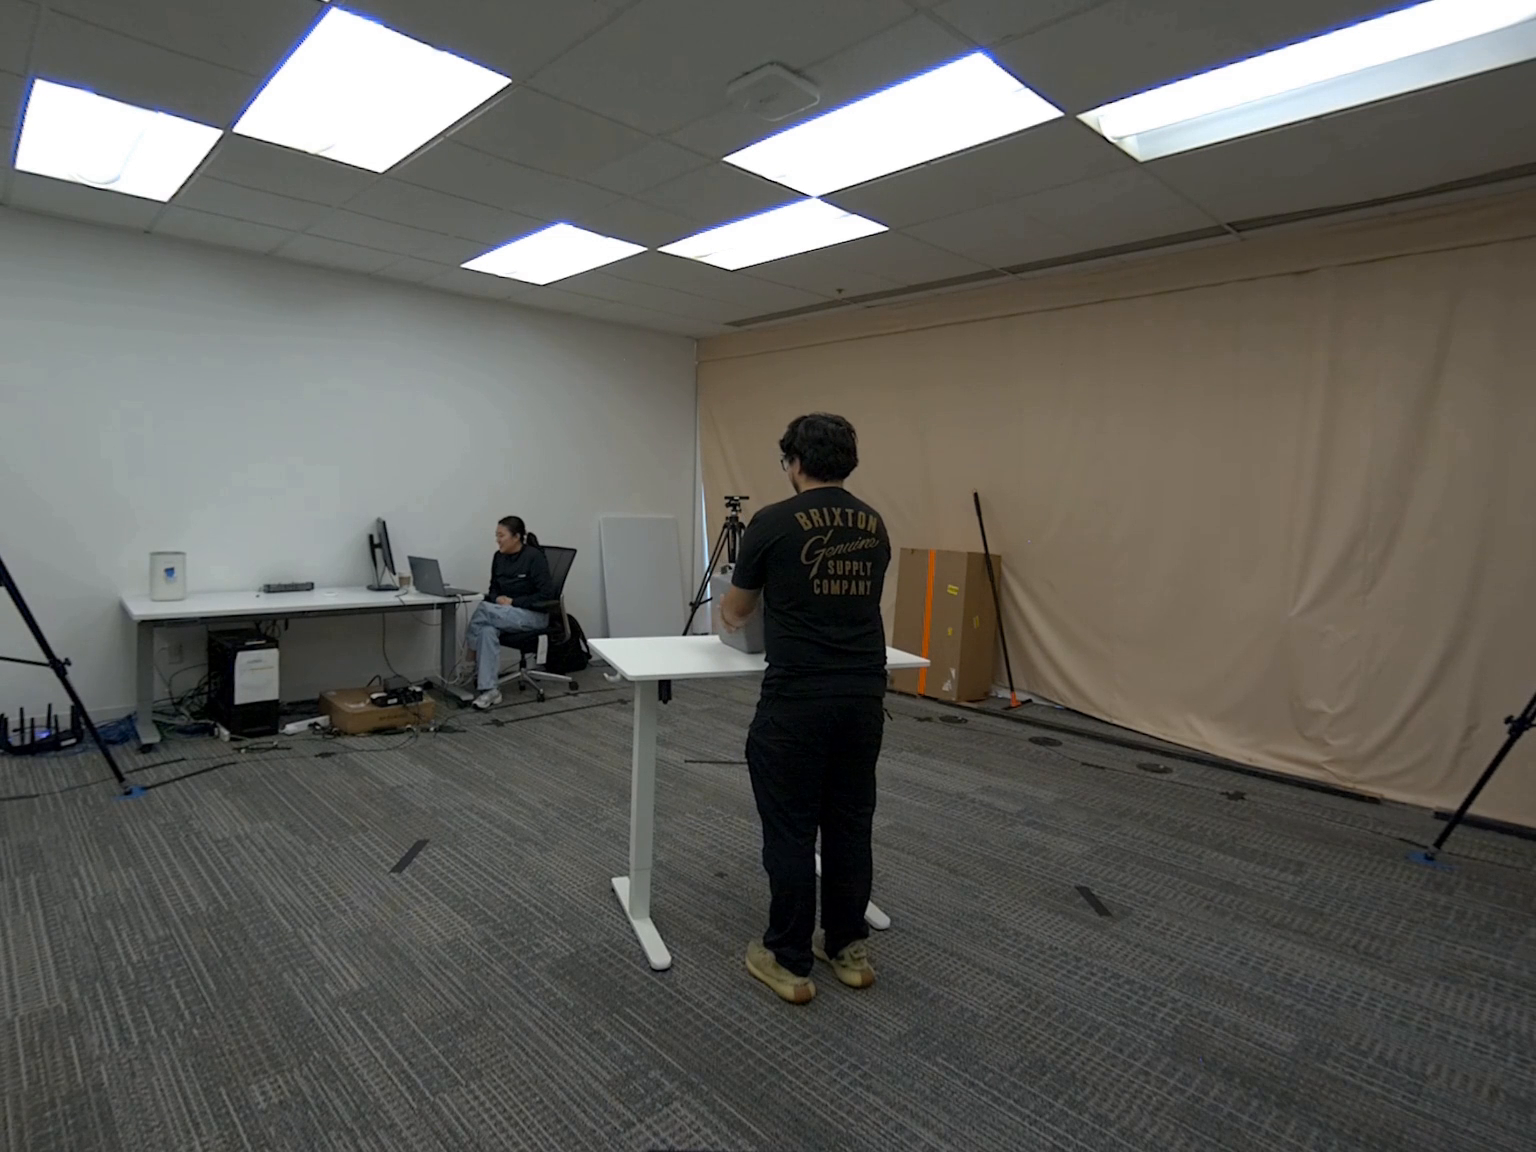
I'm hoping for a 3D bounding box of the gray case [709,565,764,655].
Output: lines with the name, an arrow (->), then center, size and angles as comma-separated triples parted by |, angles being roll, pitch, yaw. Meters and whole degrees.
gray case -> -0.098, 0.116, 2.841 | 0.103, 0.259, 0.262 | -10, 9, -21
